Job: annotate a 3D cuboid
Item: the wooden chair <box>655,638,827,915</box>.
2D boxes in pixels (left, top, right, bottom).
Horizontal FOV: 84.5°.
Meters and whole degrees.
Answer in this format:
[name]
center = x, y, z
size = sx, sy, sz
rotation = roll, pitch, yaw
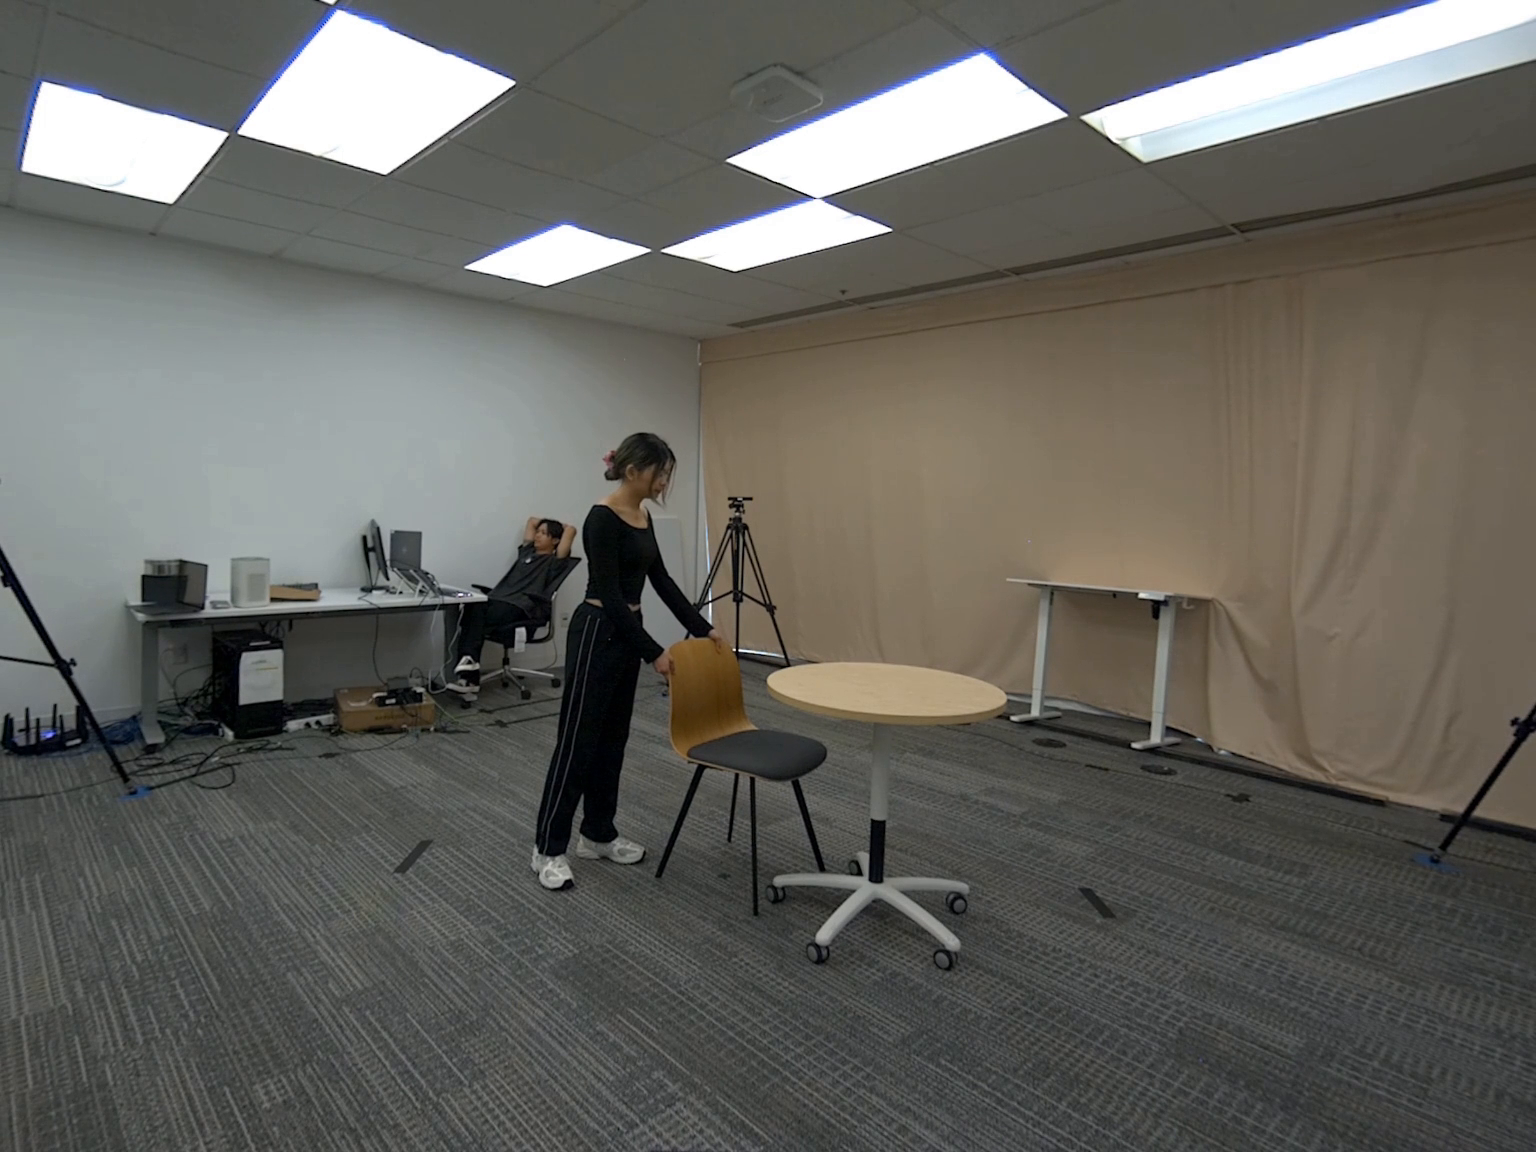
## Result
[wooden chair]
center = -0.089, 0.681, 3.086
size = 0.535, 0.877, 0.467
rotation = -1, 1, 36
